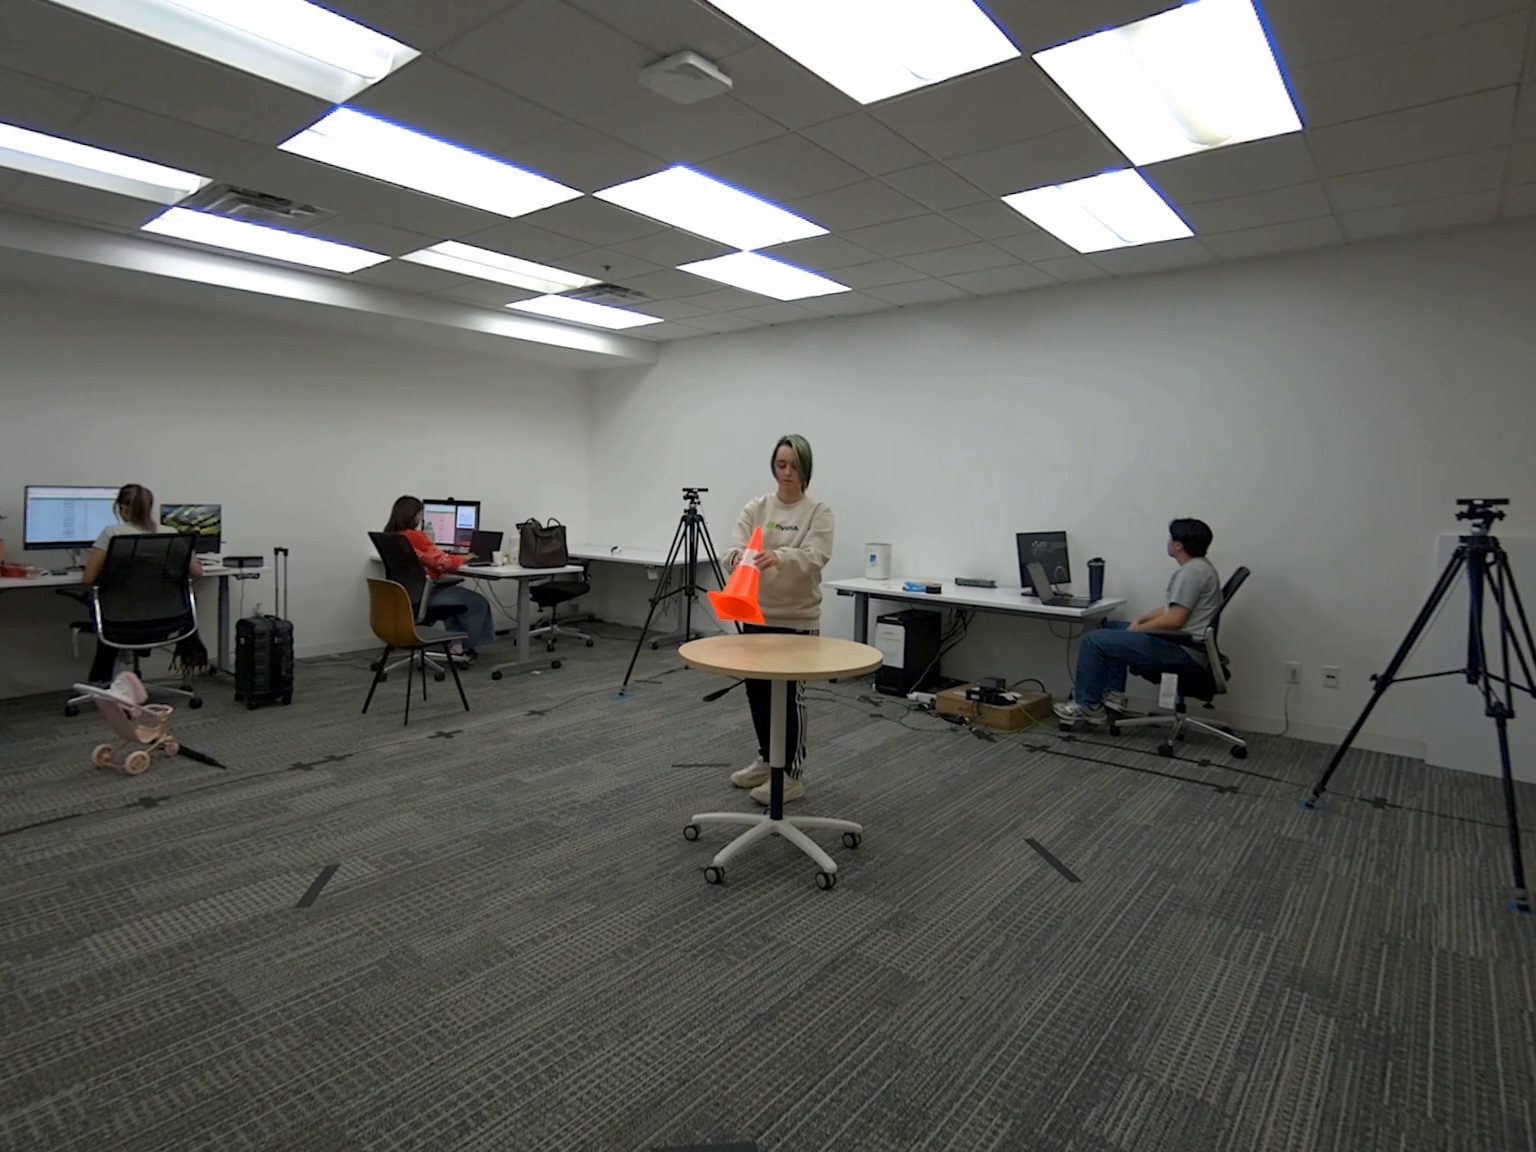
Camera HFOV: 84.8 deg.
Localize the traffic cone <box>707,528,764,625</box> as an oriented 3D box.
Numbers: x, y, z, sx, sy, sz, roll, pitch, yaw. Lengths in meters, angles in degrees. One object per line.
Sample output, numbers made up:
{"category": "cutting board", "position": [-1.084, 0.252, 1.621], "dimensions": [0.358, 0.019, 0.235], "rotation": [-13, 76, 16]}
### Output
{"category": "traffic cone", "position": [-0.083, -0.033, 3.401], "dimensions": [0.209, 0.390, 0.196], "rotation": [4, -33, 19]}
